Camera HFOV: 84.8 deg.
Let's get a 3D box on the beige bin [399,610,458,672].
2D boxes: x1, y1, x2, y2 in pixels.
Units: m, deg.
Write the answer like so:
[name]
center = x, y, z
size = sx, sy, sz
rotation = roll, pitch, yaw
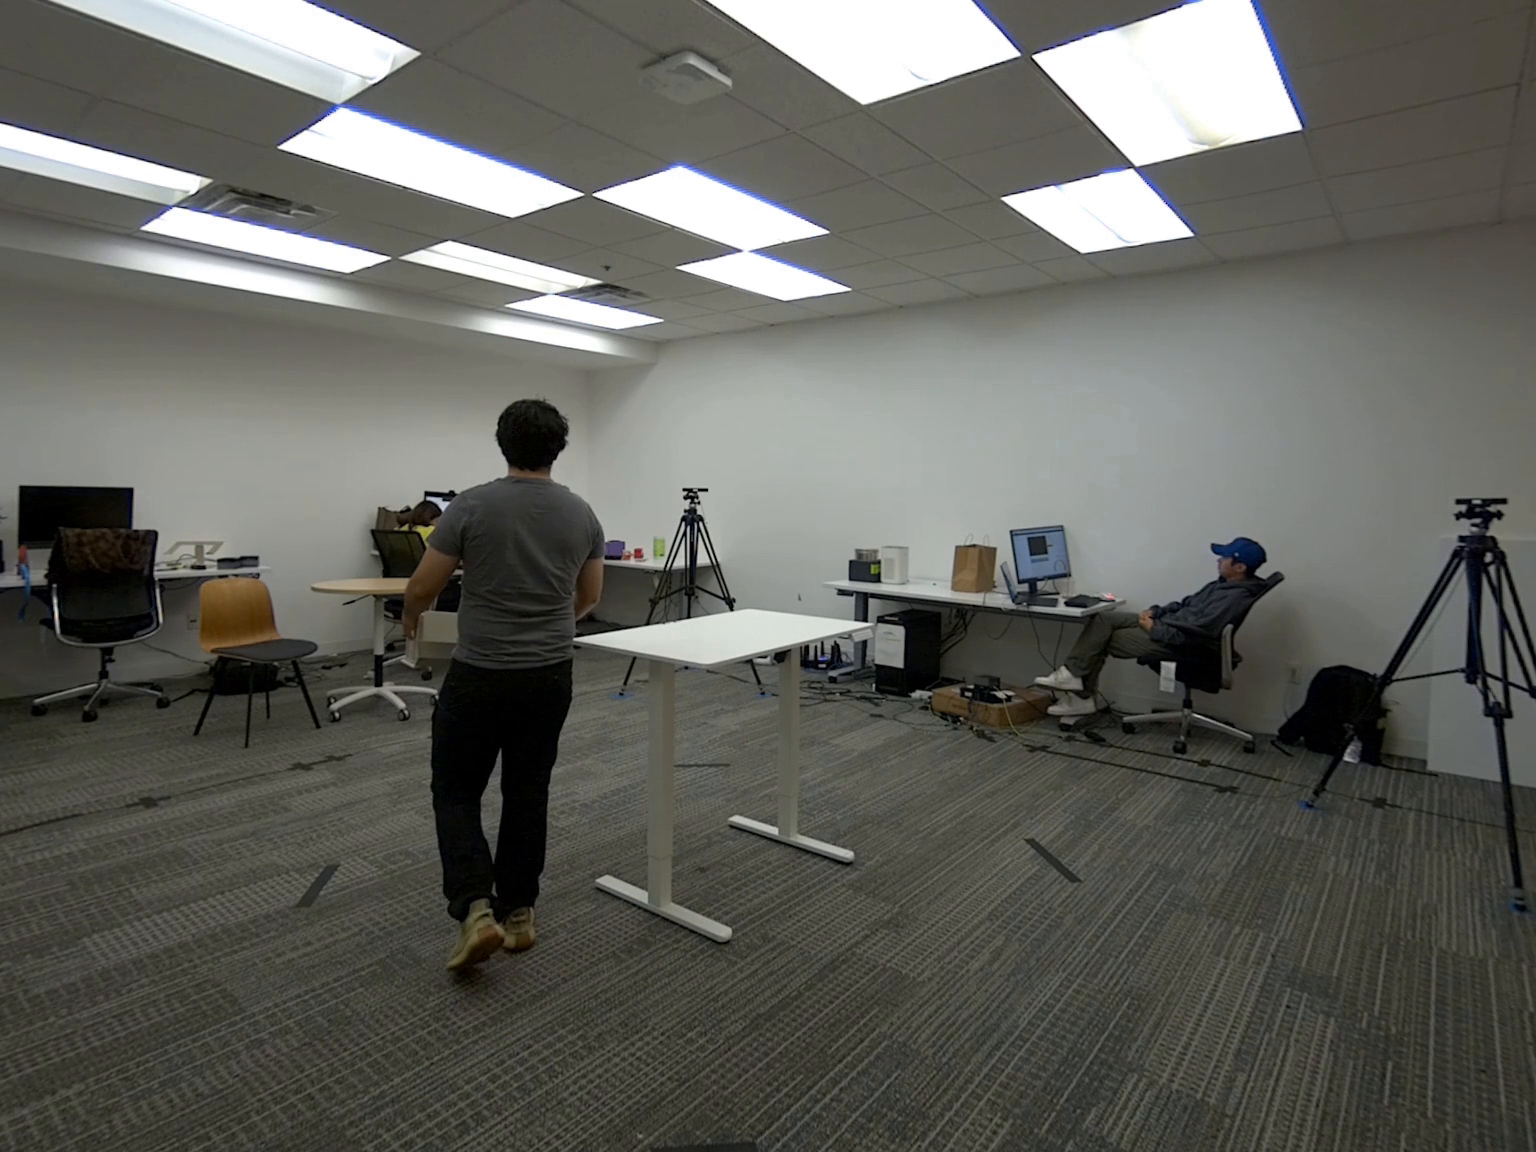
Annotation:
[beige bin]
center = -1.014, 0.217, 2.896
size = 0.410, 0.190, 0.386
rotation = 3, -4, -30
